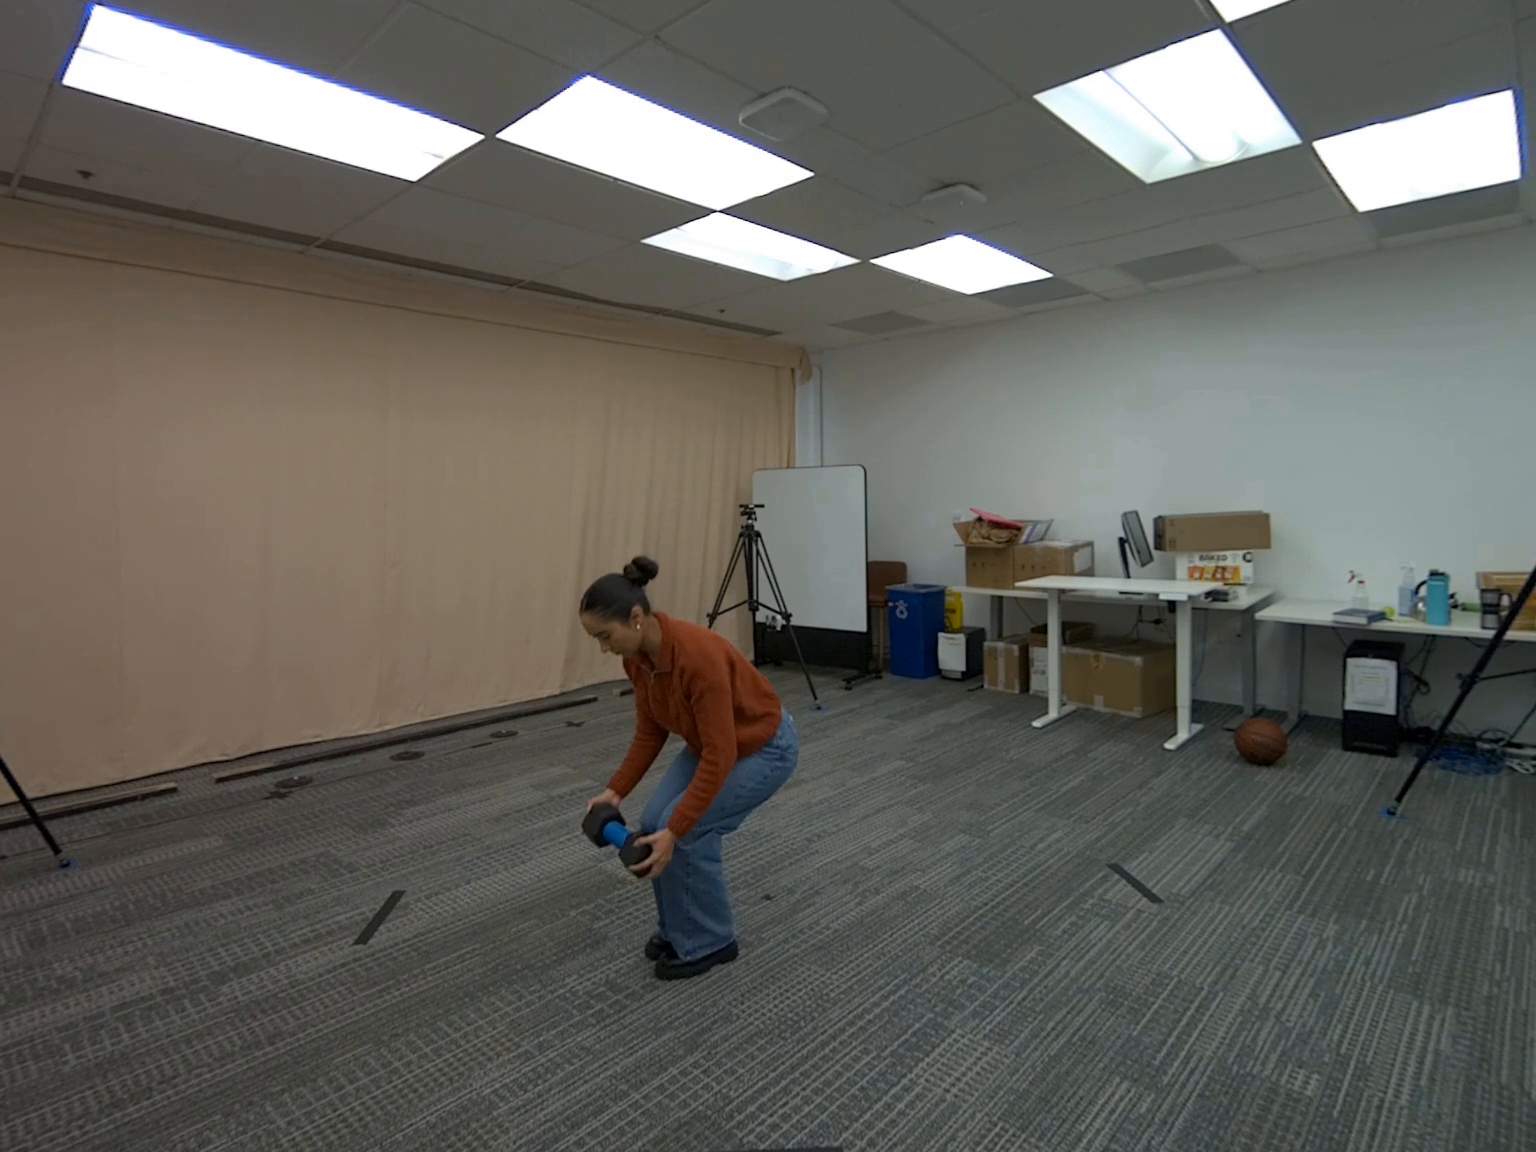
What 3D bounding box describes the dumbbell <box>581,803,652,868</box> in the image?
[{"bbox_3d":[-0.407,0.761,2.429,0.105,0.123,0.303,28,-12,-37],"label":"dumbbell"}]
